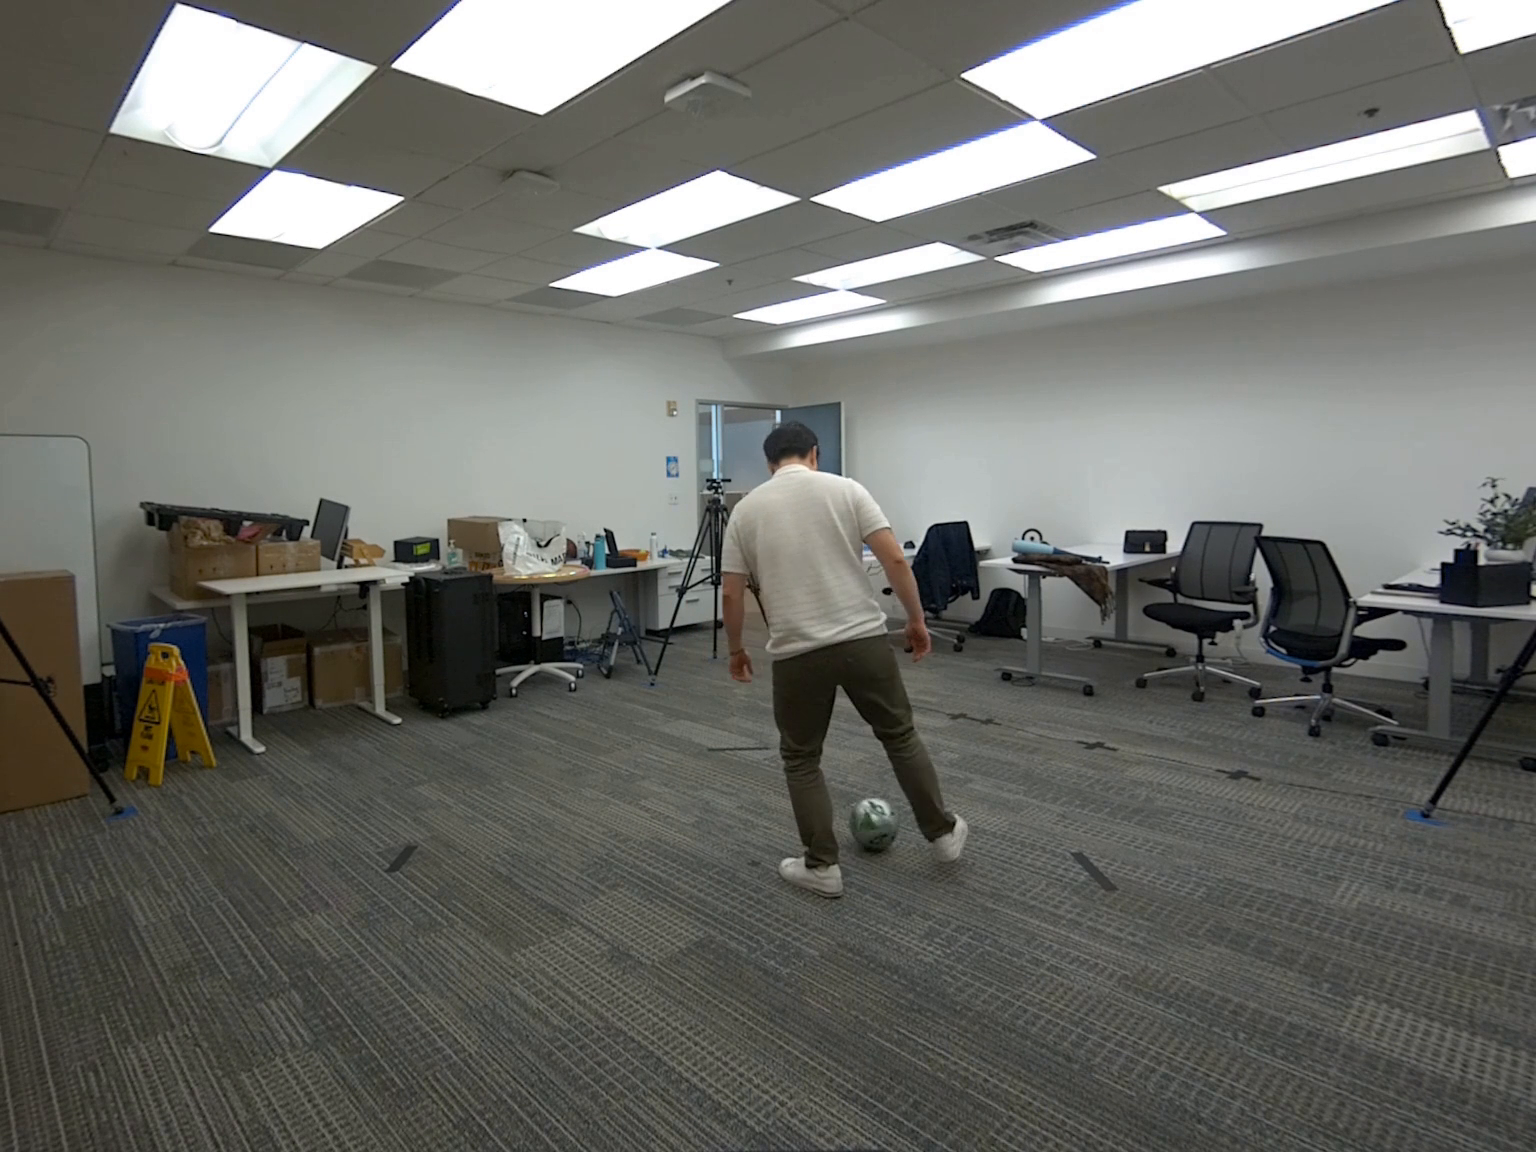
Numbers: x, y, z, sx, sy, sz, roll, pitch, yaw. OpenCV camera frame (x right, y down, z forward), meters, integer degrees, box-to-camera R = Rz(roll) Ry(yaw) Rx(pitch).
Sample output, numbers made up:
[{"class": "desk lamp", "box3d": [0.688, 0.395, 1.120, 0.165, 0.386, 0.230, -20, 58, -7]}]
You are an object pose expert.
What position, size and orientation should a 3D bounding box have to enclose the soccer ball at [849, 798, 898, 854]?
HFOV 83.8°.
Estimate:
[{"class": "soccer ball", "box3d": [0.394, 0.927, 3.213, 0.187, 0.187, 0.188, -1, 5, -2]}]
